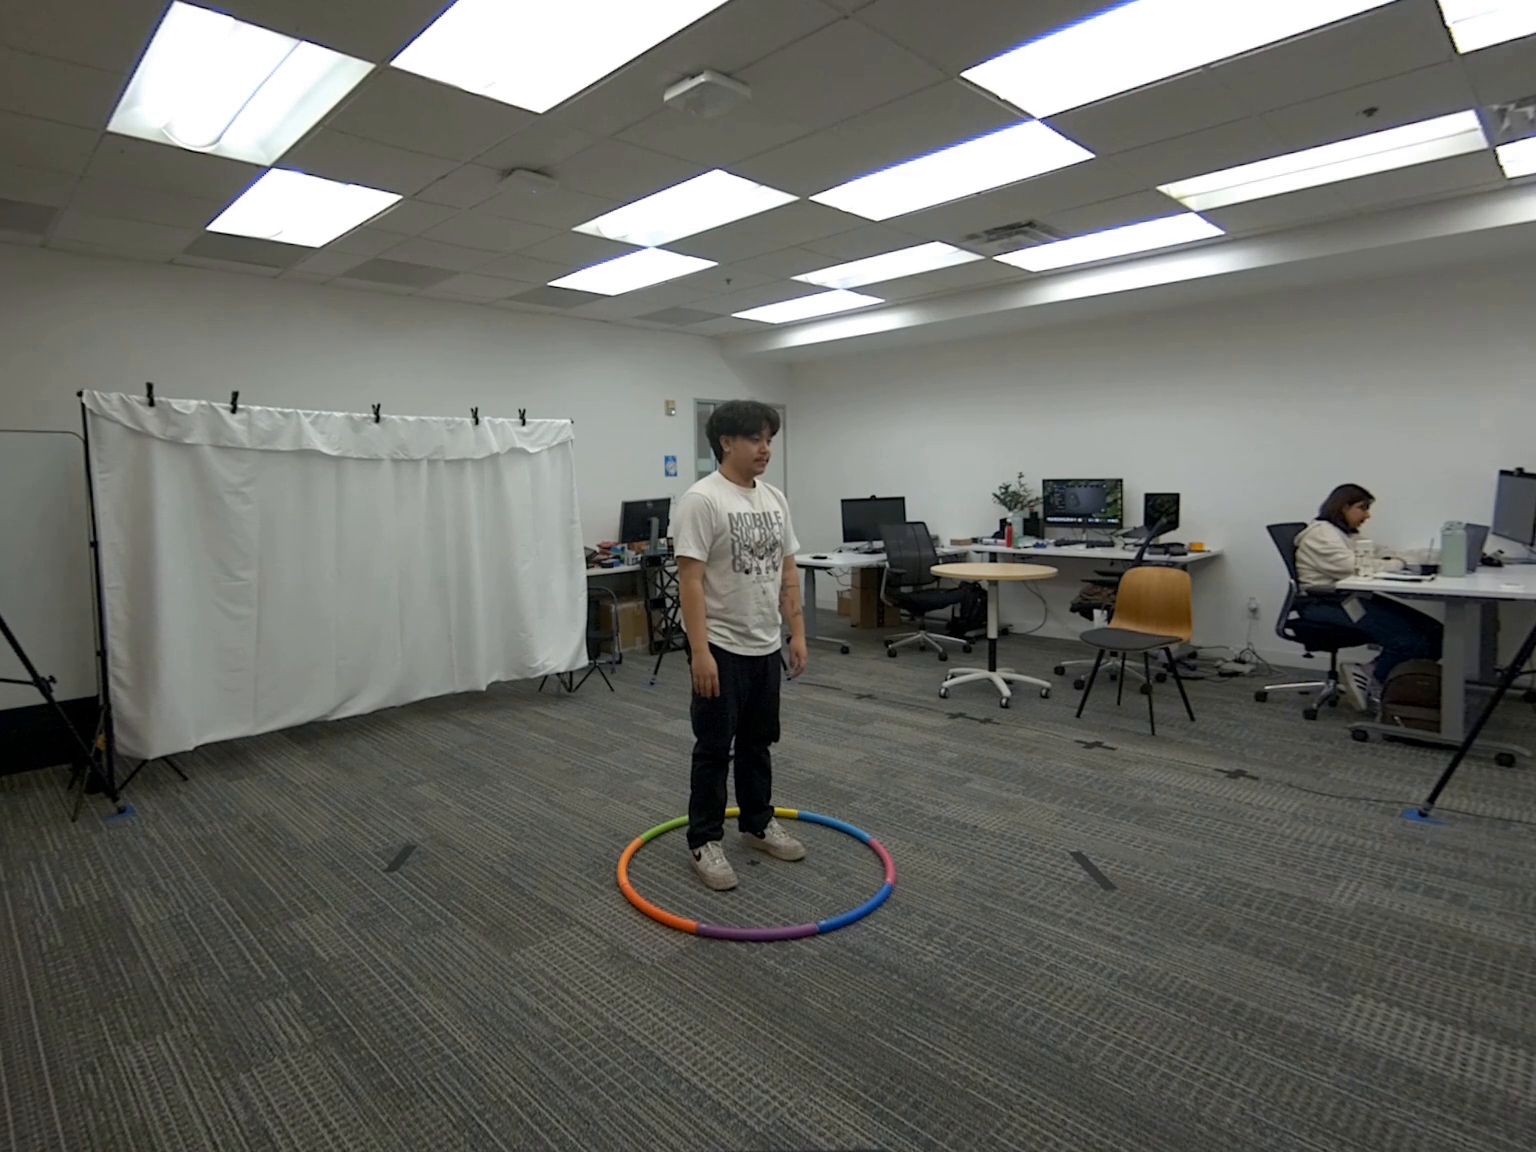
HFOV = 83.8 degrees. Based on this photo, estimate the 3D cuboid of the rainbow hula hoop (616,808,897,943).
[{"bbox_3d":[-0.047,1.021,3.062,0.985,0.051,0.991,-1,7,-2],"label":"rainbow hula hoop"}]
